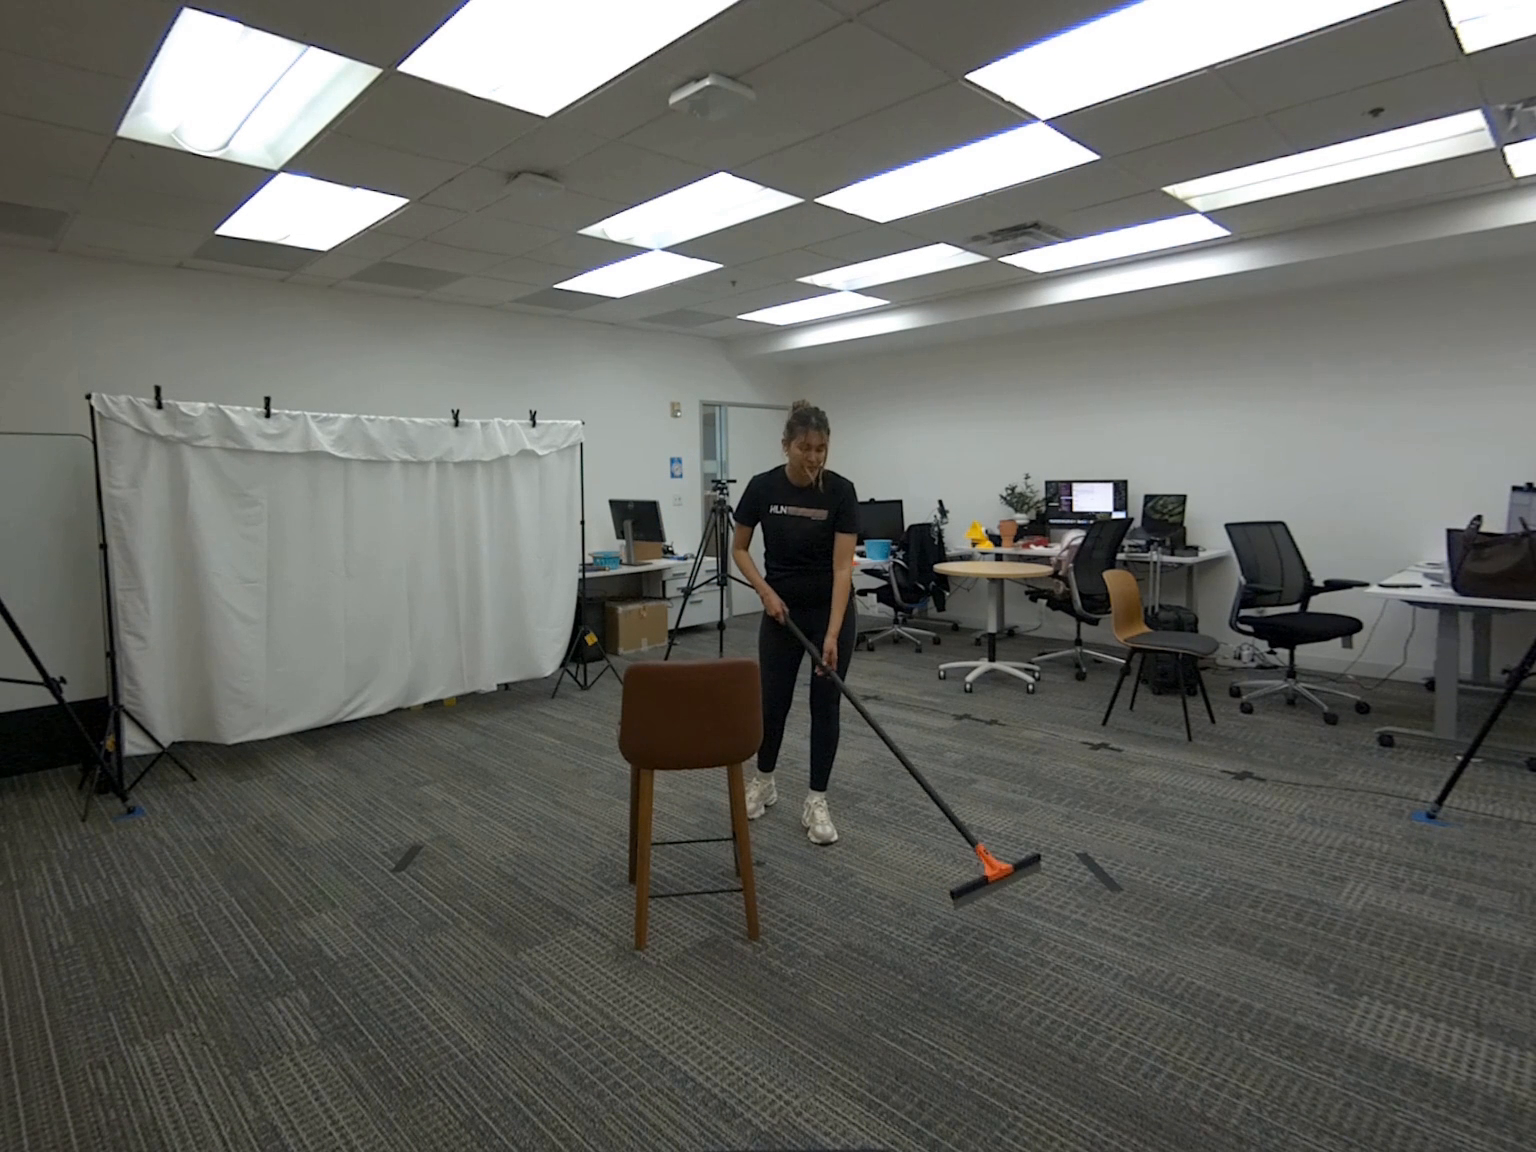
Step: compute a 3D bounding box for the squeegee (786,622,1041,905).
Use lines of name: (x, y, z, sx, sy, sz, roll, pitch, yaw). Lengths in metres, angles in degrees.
squeegee: (0.286, 0.405, 2.994, 0.426, 0.052, 1.597, -4, 41, -39)
